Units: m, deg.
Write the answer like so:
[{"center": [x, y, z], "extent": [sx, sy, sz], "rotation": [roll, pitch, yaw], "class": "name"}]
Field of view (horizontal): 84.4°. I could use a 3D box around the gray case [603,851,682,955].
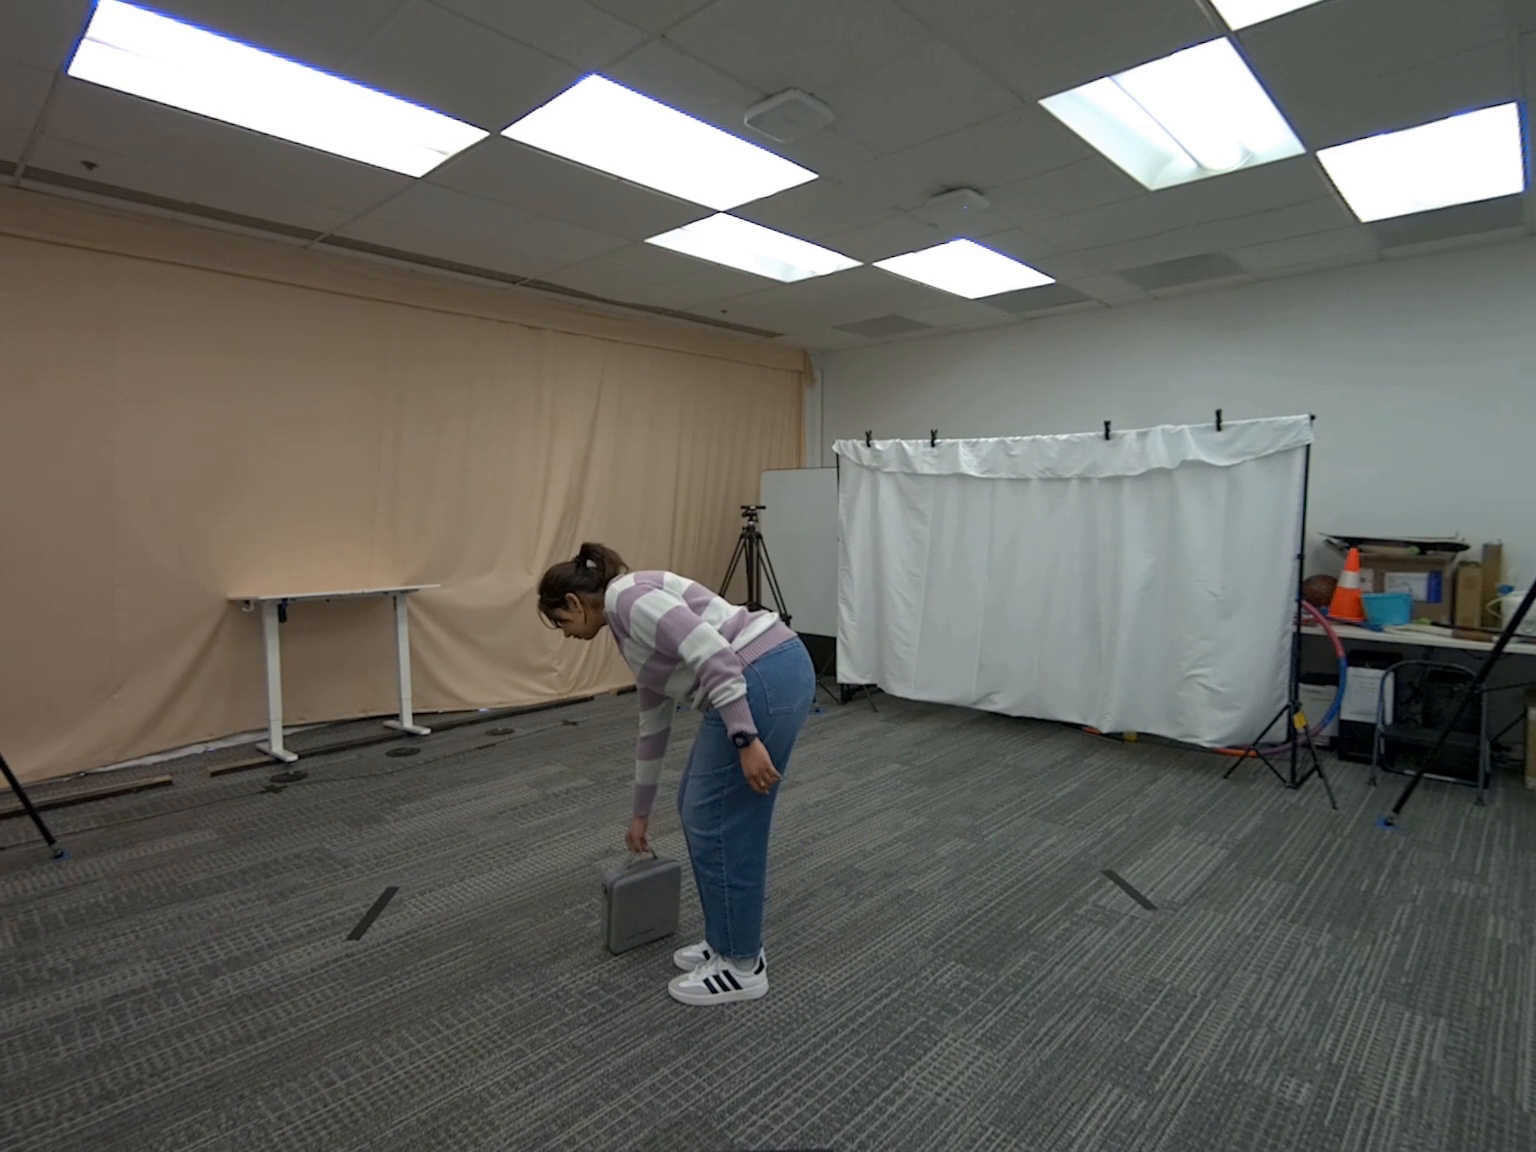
[{"center": [-0.406, 1.033, 2.685], "extent": [0.249, 0.259, 0.108], "rotation": [-3, 11, -35], "class": "gray case"}]
